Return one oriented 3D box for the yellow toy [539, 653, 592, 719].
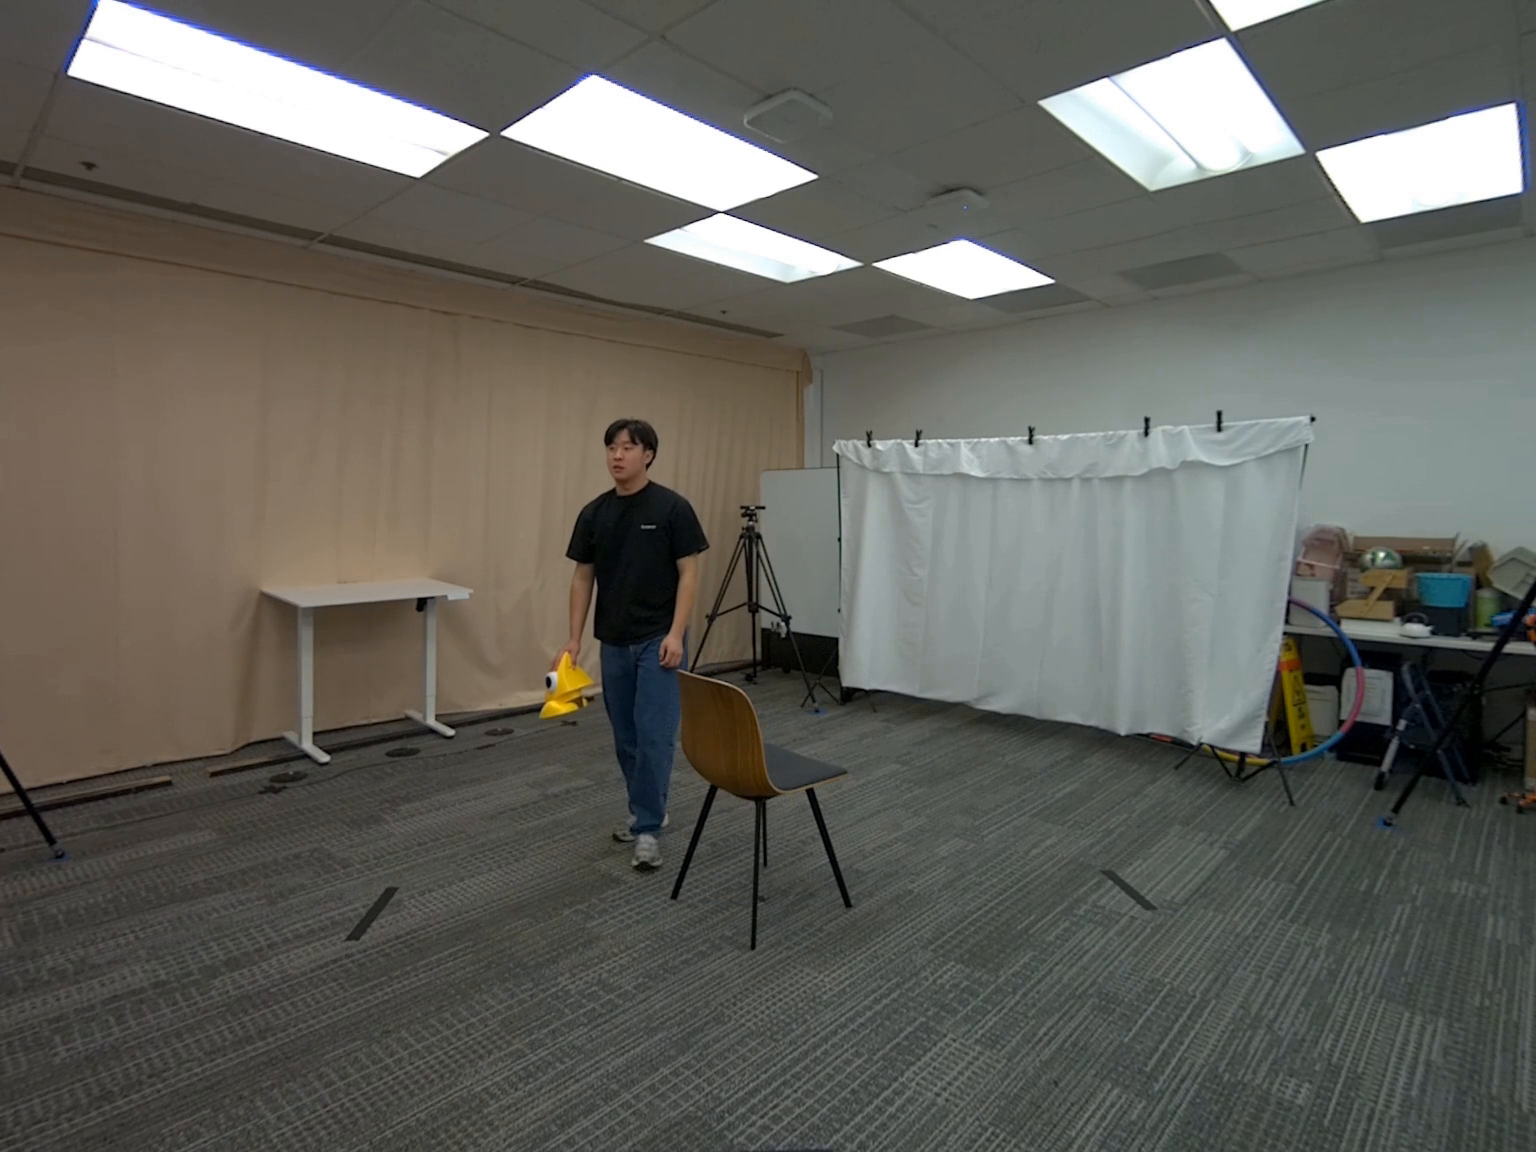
[{"bbox_3d":[-0.830,0.431,3.384,0.196,0.231,0.201,-14,-3,19],"label":"yellow toy"}]
